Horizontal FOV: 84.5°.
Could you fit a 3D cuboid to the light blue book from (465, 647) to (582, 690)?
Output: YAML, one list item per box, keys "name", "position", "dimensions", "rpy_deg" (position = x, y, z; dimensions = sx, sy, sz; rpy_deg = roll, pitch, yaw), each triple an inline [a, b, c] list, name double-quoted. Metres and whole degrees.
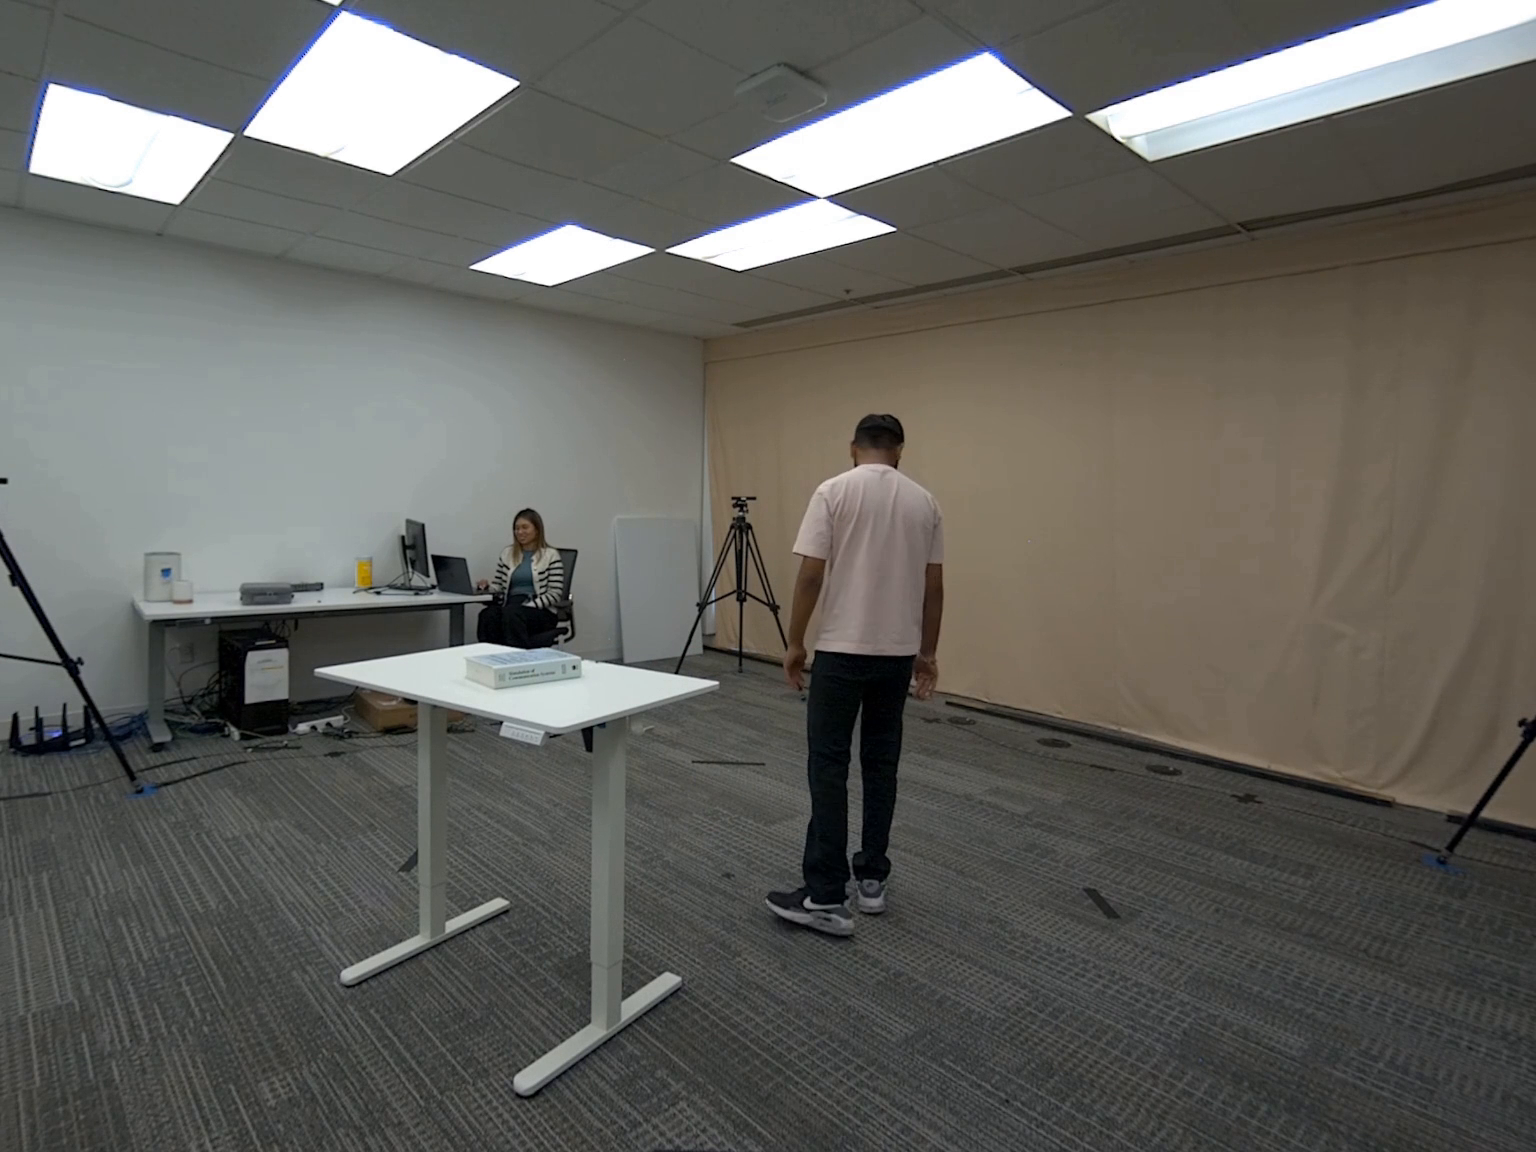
- name: "light blue book"
  position: [-0.691, 0.255, 2.322]
  dimensions: [0.255, 0.059, 0.196]
  rpy_deg: [-4, 7, -43]
